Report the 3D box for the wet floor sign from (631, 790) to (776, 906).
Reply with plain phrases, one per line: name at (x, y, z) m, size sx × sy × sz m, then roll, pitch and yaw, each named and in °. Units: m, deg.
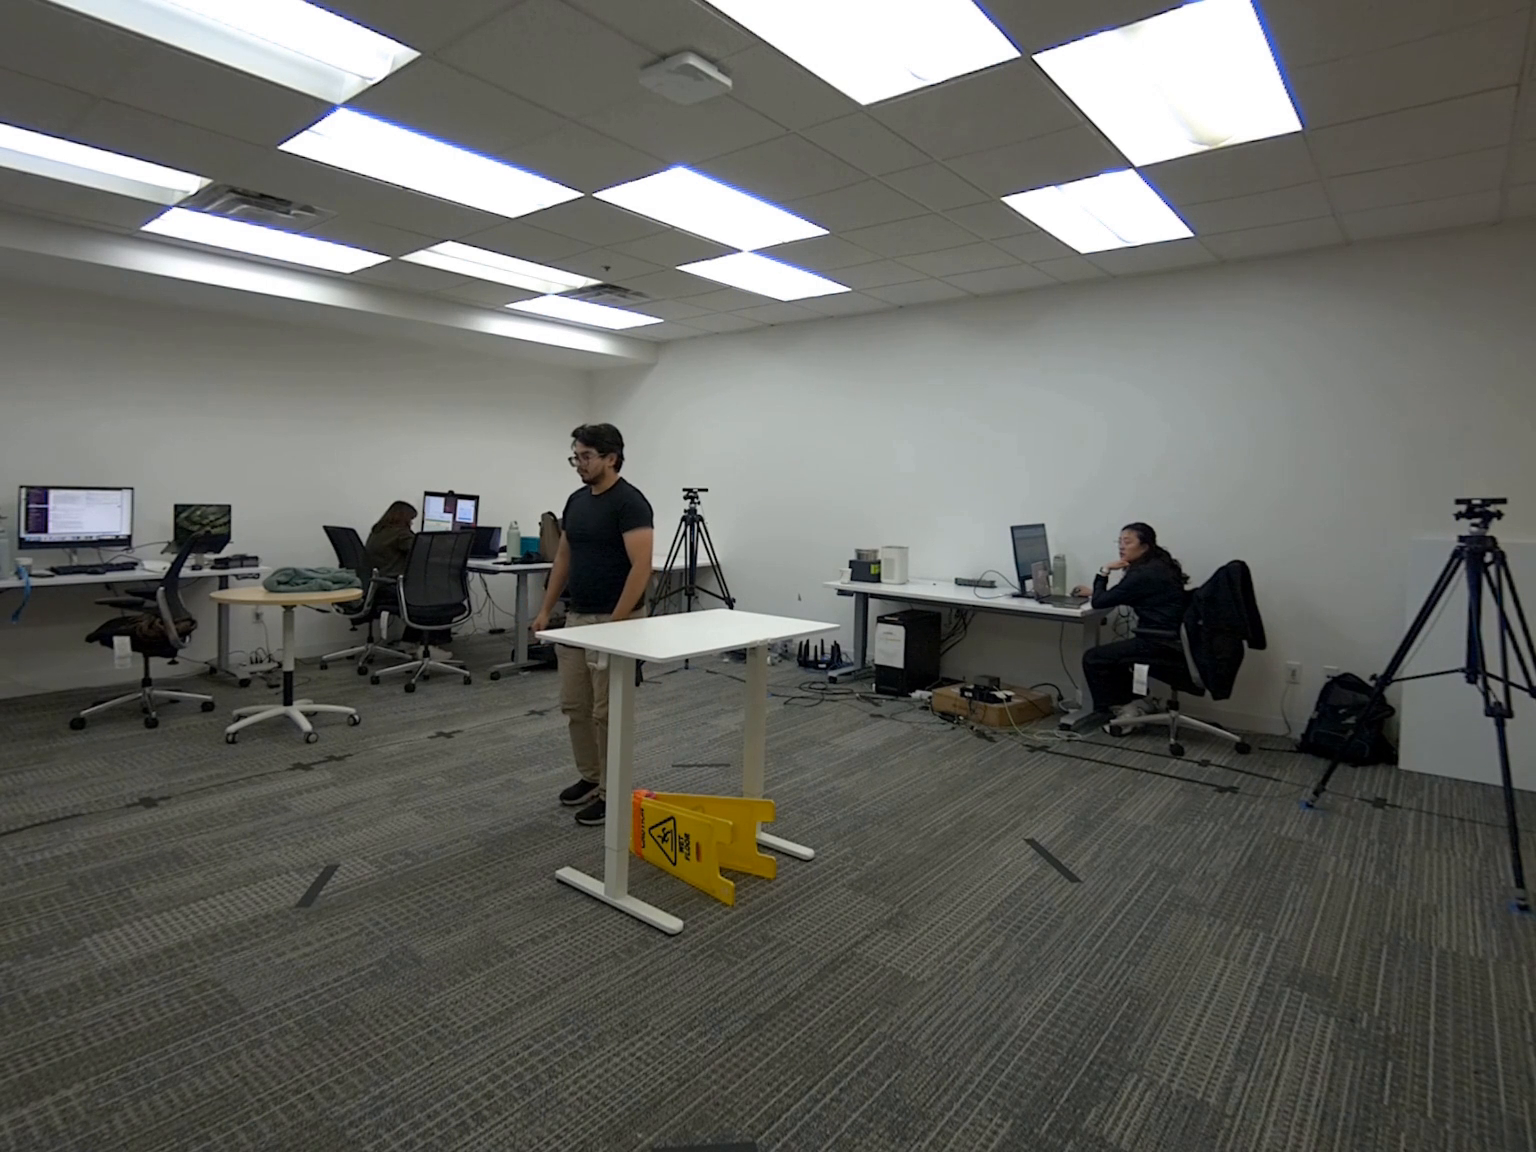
wet floor sign at (-0.330, 0.944, 3.121) m, size 0.666 × 0.282 × 0.282 m, roll 1°, pitch 3°, yaw 34°
